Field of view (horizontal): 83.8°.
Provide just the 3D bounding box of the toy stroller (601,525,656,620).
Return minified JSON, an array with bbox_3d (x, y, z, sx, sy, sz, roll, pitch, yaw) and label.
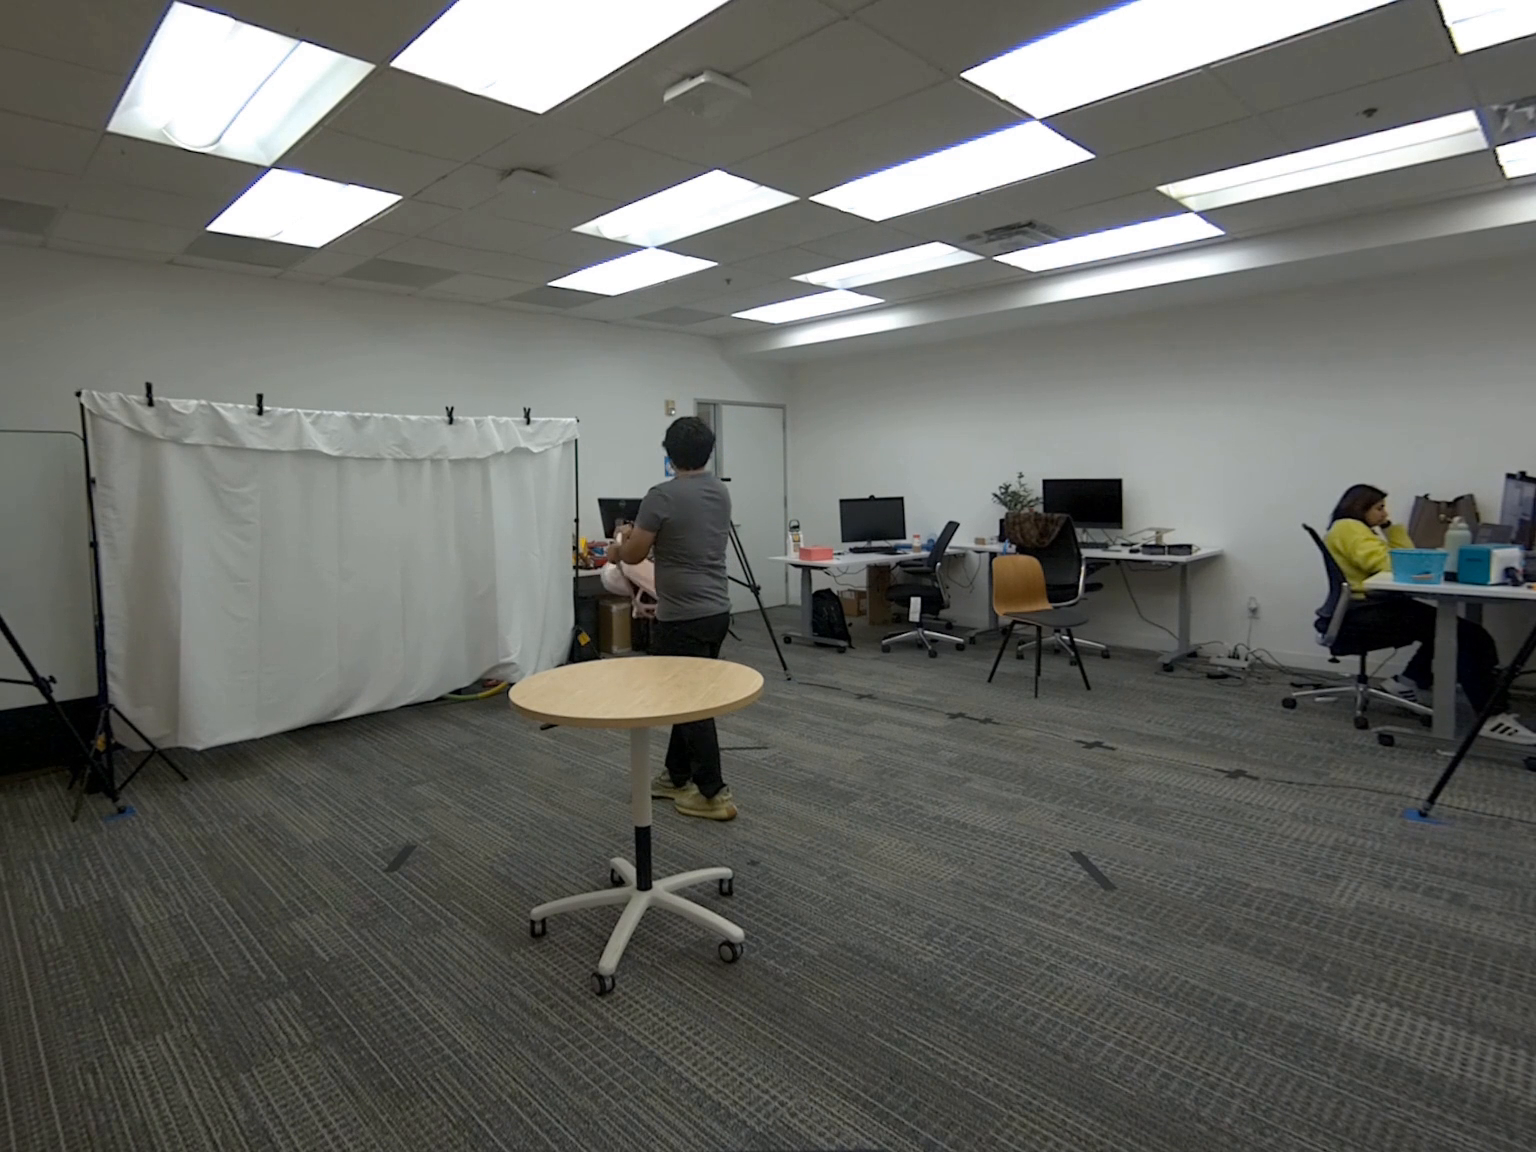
[{"bbox_3d":[-0.557,0.043,3.990,0.521,0.288,0.343,29,-45,-22],"label":"toy stroller"}]
